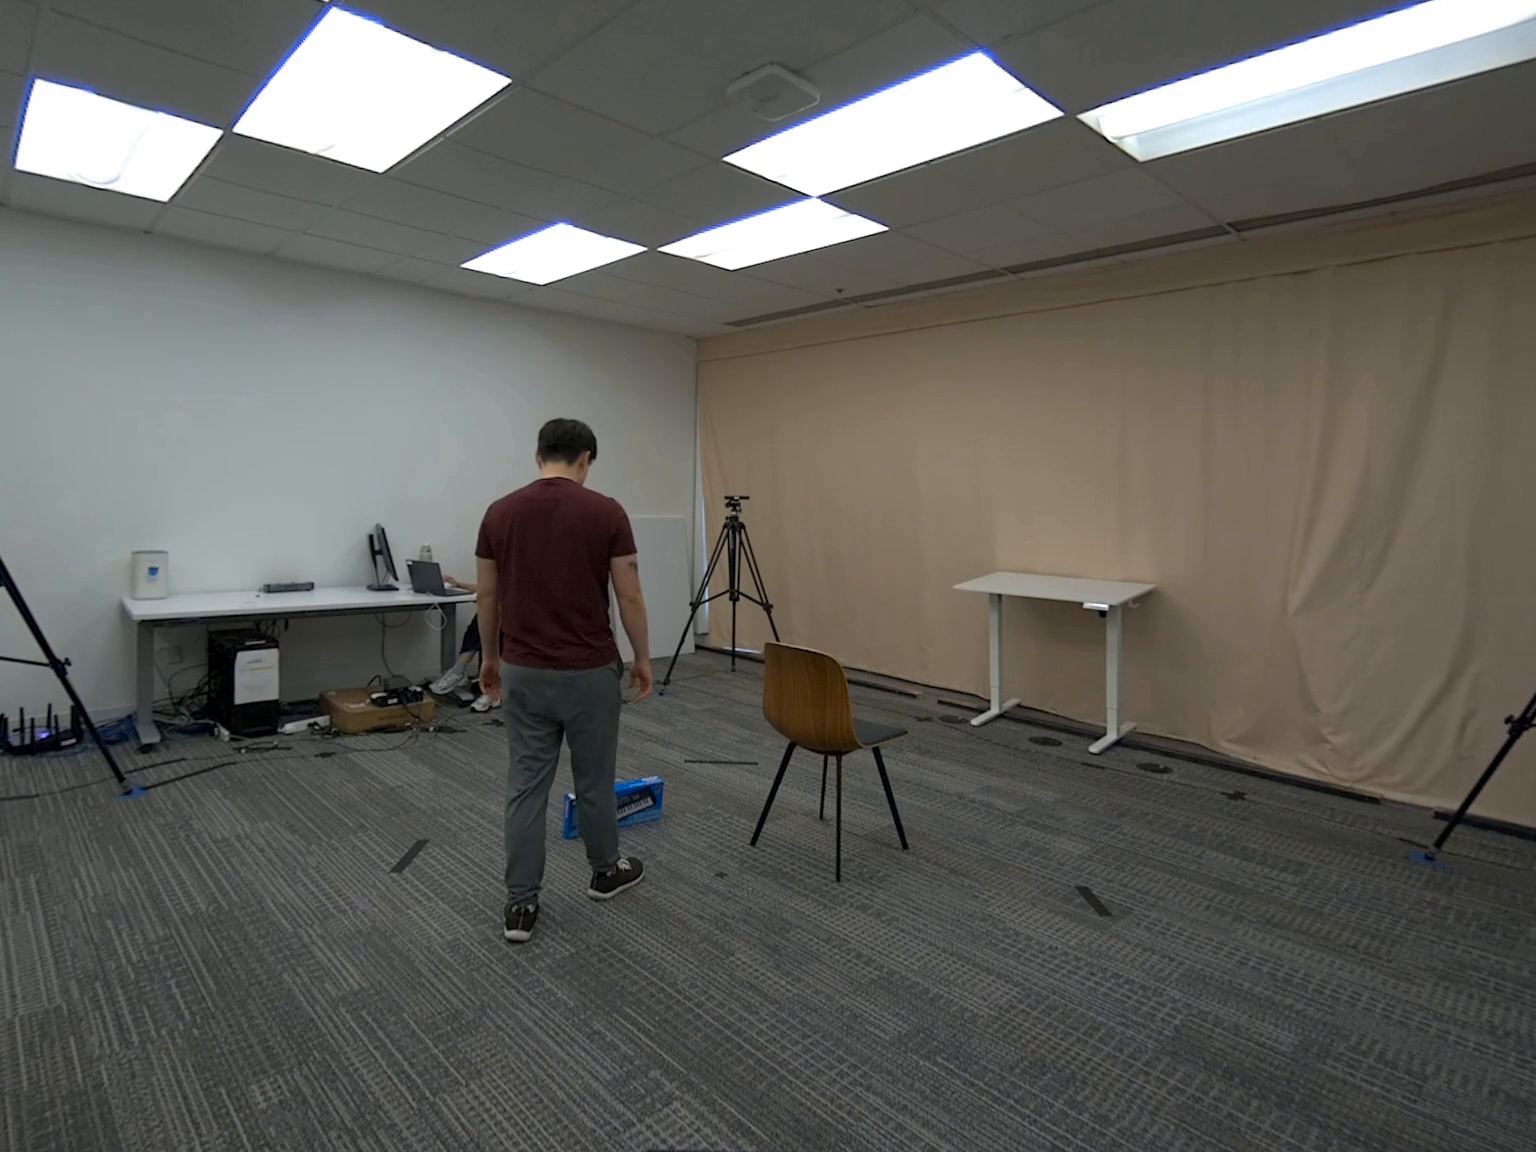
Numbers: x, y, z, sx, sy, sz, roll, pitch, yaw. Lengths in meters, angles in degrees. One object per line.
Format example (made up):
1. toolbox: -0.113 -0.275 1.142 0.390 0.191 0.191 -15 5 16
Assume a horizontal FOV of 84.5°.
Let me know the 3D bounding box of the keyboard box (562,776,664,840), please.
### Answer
1. keyboard box: -0.648 0.963 3.525 0.427 0.175 0.061 -3 11 -36
